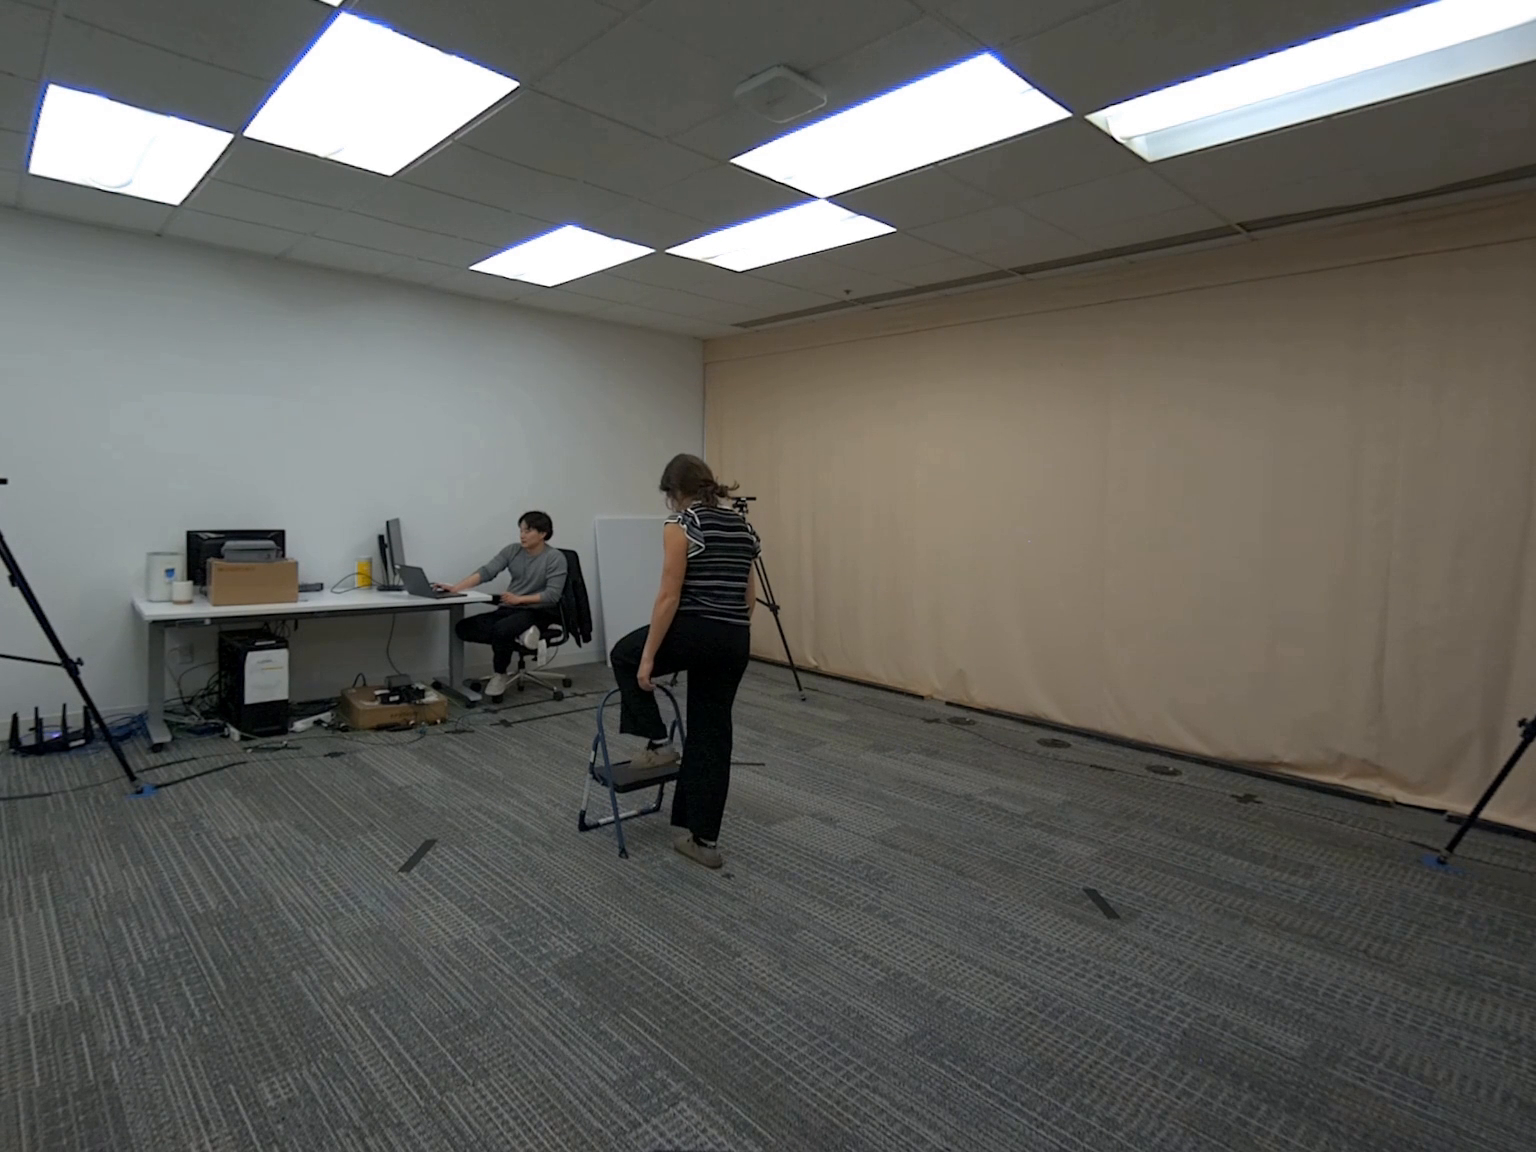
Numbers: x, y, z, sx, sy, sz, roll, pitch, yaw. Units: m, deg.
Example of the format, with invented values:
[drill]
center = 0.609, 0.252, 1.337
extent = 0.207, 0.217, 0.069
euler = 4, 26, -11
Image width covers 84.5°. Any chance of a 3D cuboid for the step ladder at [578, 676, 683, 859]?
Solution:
[step ladder]
center = -0.523, 0.764, 3.486
extent = 0.421, 0.604, 0.358
euler = -2, 5, -43
